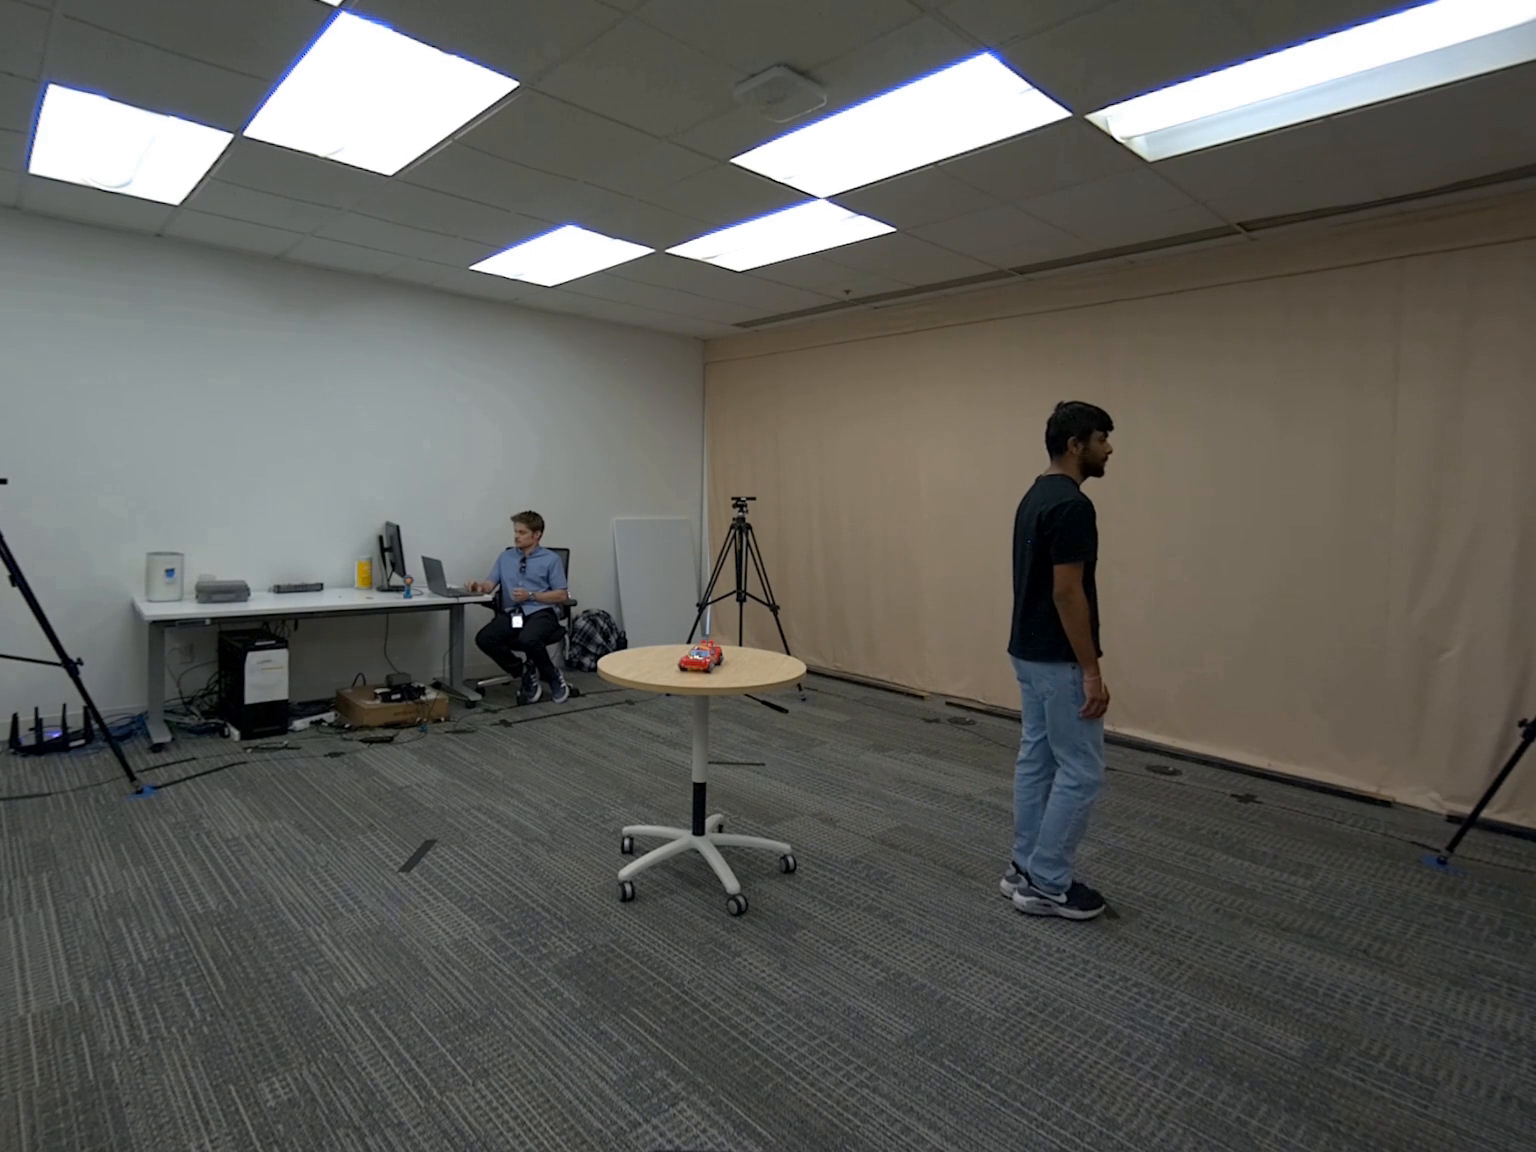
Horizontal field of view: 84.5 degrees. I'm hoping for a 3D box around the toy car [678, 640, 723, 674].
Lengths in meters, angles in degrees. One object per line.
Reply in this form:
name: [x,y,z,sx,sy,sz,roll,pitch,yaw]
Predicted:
toy car: [-0.235,0.294,3.041,0.131,0.082,0.255,2,16,11]
